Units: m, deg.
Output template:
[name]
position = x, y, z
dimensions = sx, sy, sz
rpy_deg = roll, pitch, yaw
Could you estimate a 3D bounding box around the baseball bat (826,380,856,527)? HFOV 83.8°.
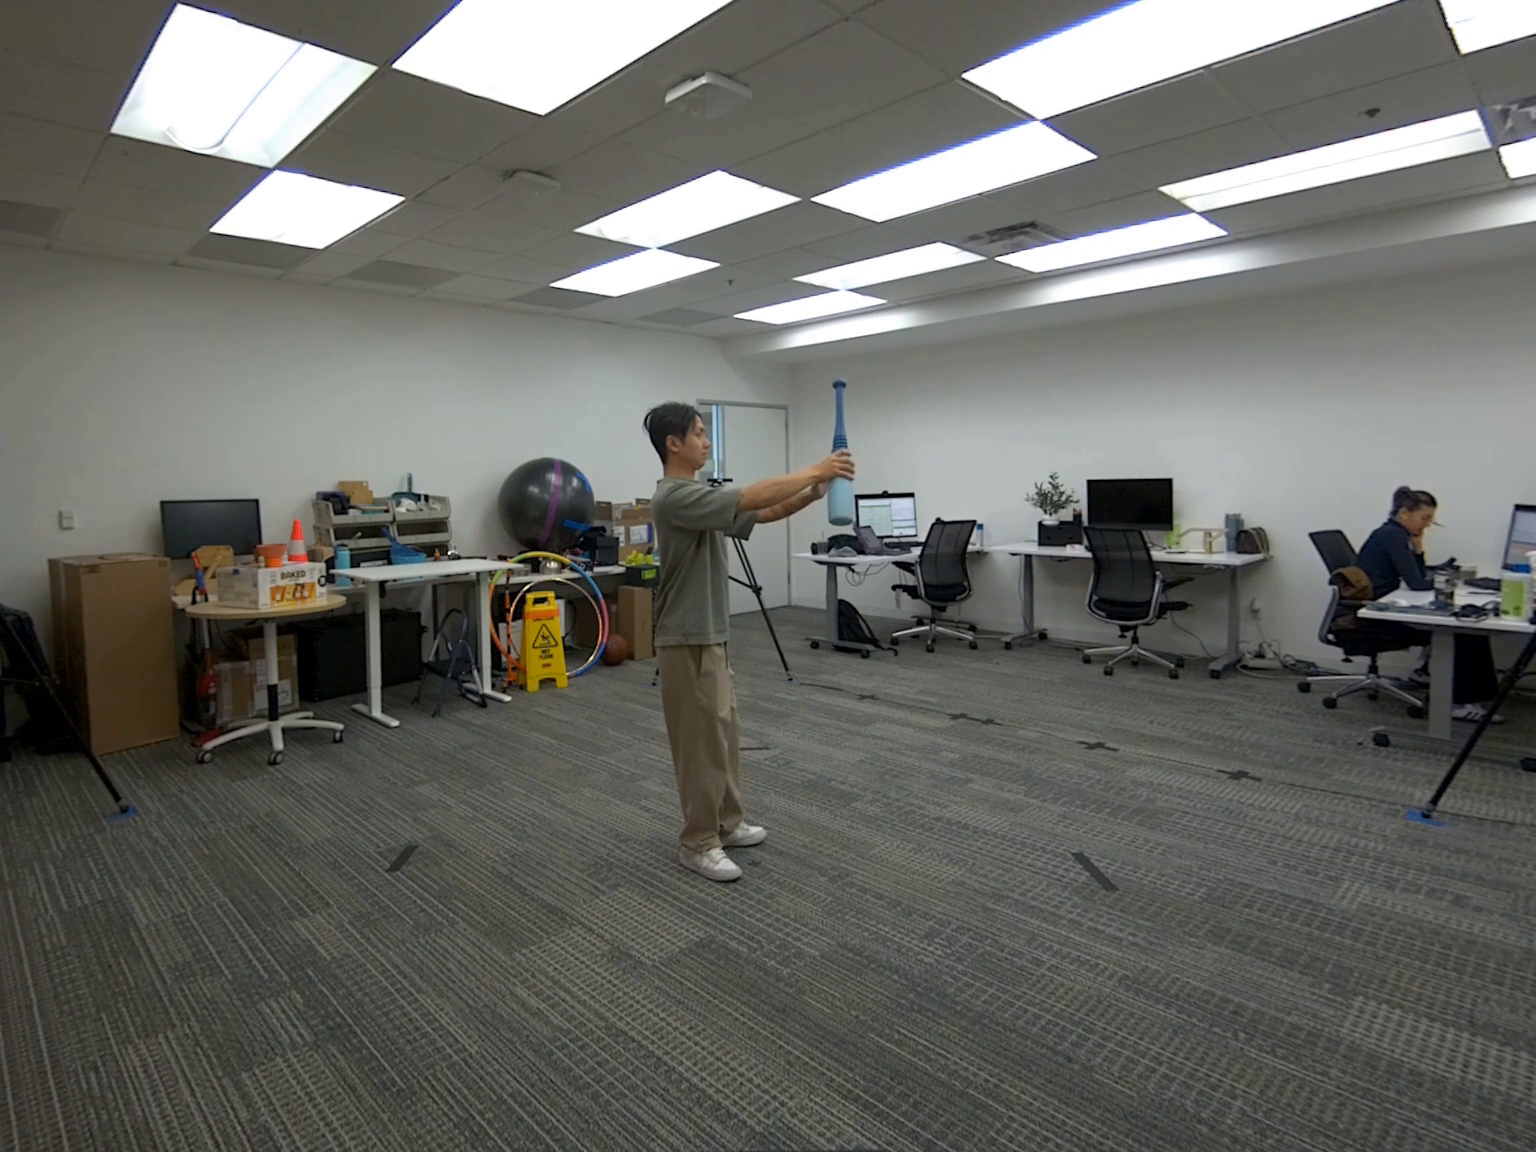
[baseball bat]
position = 0.250, -0.442, 2.976
dimensions = 0.089, 0.551, 0.088
rpy_deg = 0, -17, -2
